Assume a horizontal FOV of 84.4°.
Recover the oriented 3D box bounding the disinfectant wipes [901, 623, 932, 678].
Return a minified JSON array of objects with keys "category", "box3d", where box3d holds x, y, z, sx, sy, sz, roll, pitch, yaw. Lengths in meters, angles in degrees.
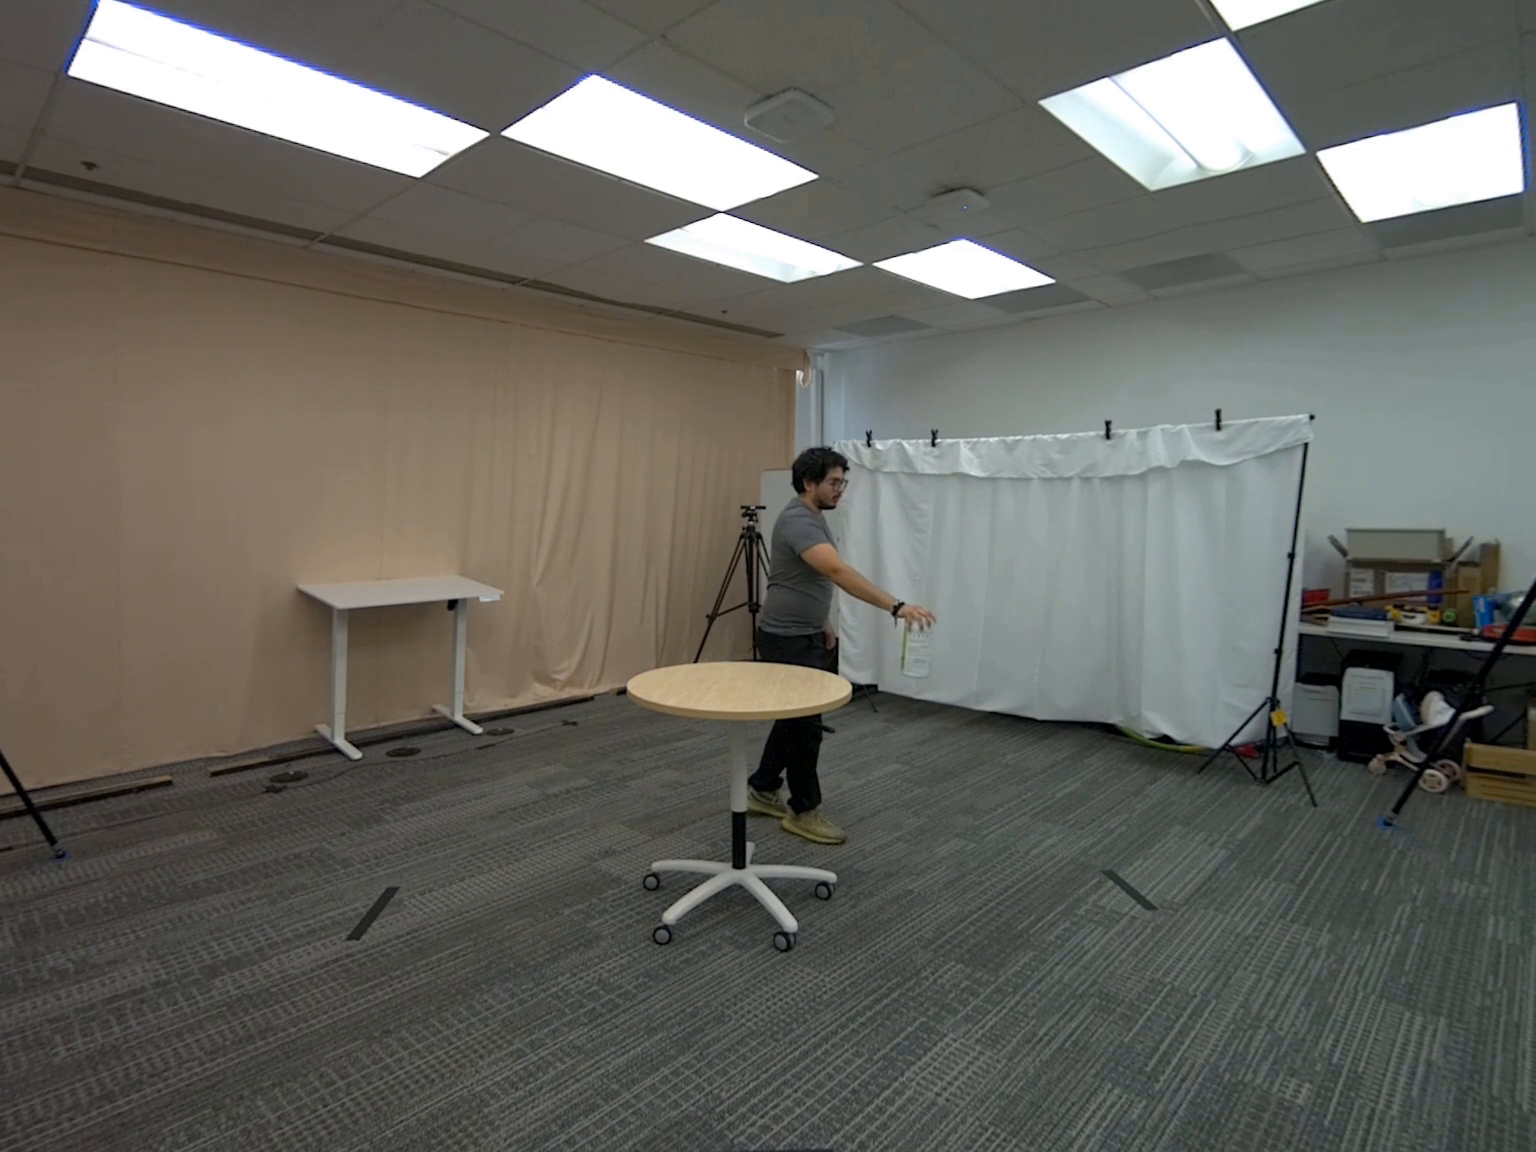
[{"category":"disinfectant wipes","box3d":[0.573,0.271,3.165,0.117,0.217,0.118,2,5,-2]}]
